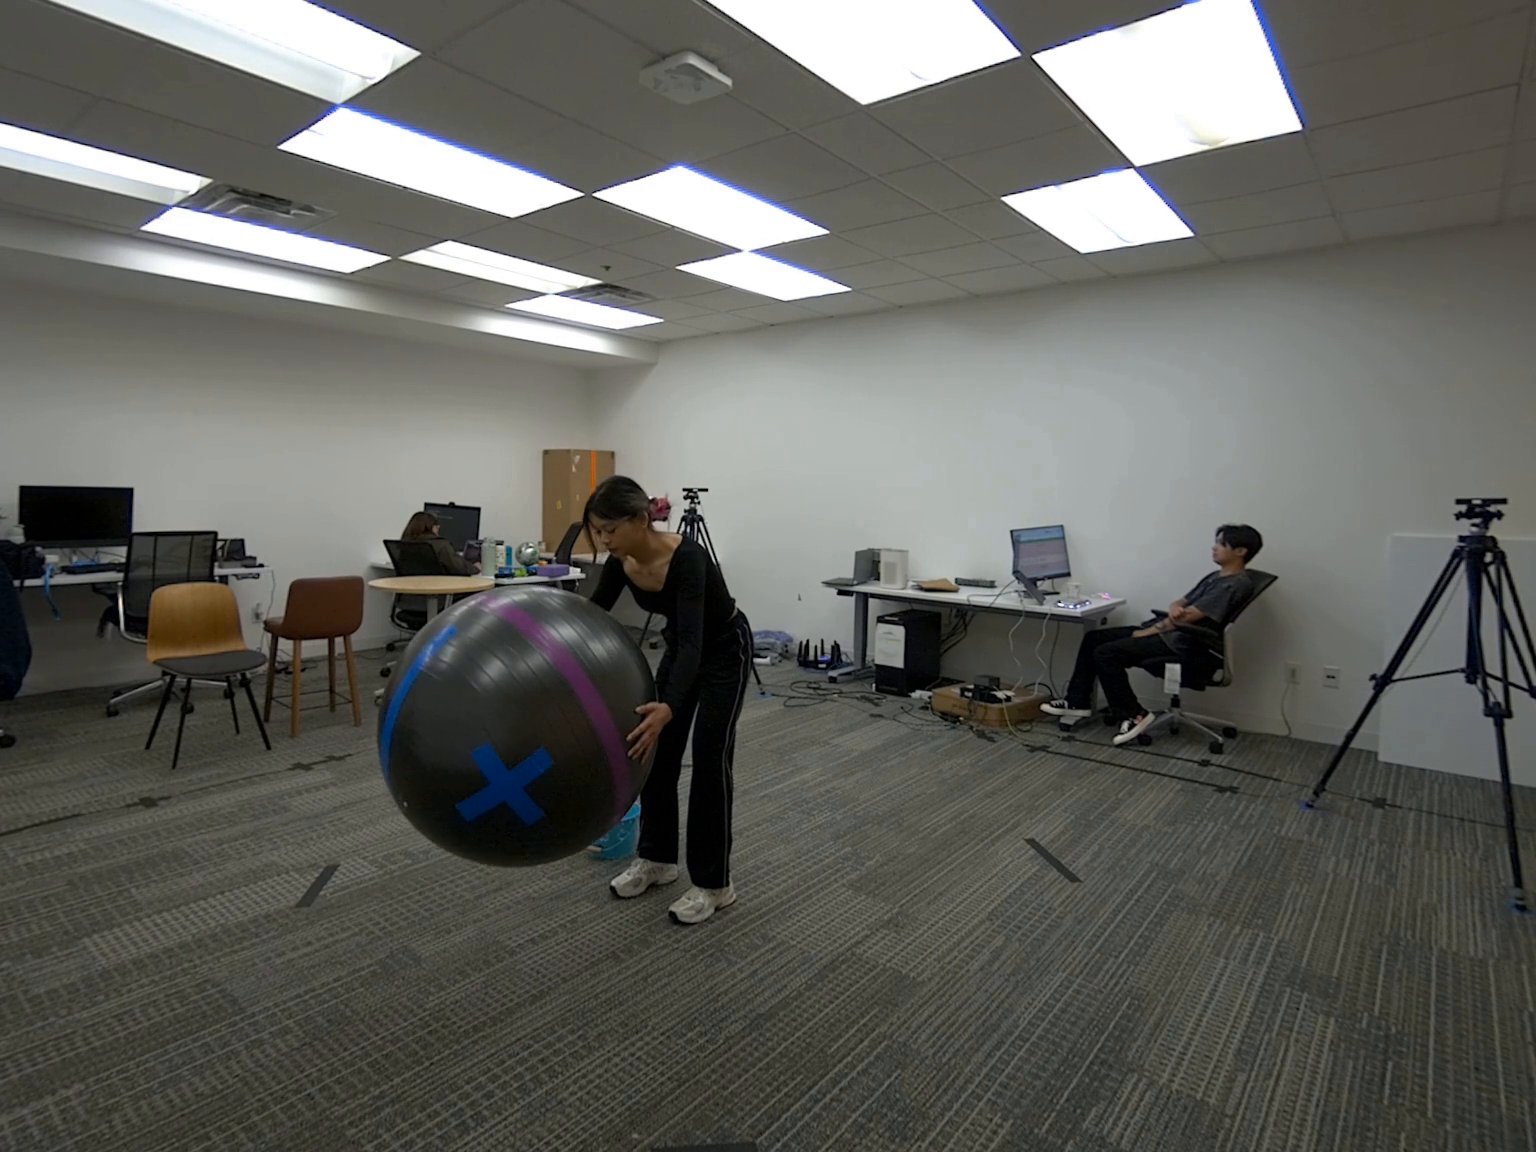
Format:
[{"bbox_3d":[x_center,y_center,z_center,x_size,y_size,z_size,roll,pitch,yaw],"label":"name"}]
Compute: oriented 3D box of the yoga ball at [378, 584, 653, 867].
[{"bbox_3d":[-0.699,0.407,2.351,0.757,0.755,0.762,1,4,-2],"label":"yoga ball"}]
